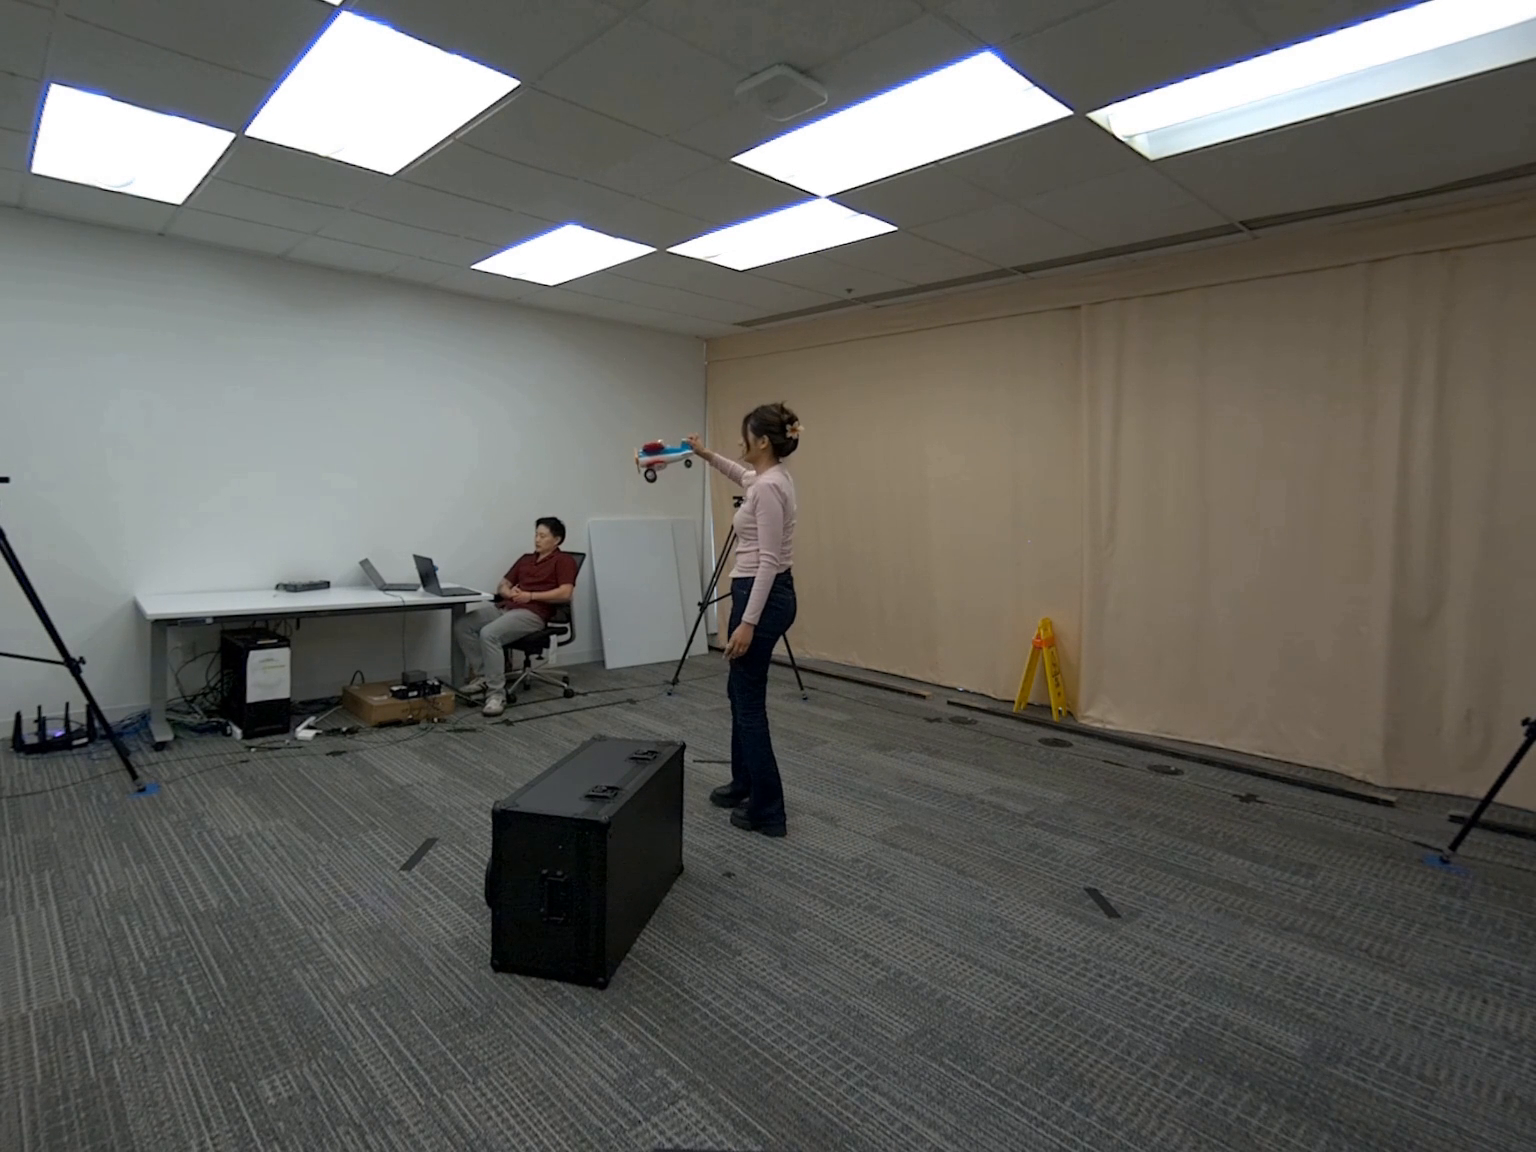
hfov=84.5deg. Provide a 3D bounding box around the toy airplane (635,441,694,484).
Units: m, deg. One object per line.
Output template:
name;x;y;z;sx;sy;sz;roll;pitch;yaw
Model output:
toy airplane;-0.466;-0.525;3.788;0.256;0.156;0.254;-23;1;-32
